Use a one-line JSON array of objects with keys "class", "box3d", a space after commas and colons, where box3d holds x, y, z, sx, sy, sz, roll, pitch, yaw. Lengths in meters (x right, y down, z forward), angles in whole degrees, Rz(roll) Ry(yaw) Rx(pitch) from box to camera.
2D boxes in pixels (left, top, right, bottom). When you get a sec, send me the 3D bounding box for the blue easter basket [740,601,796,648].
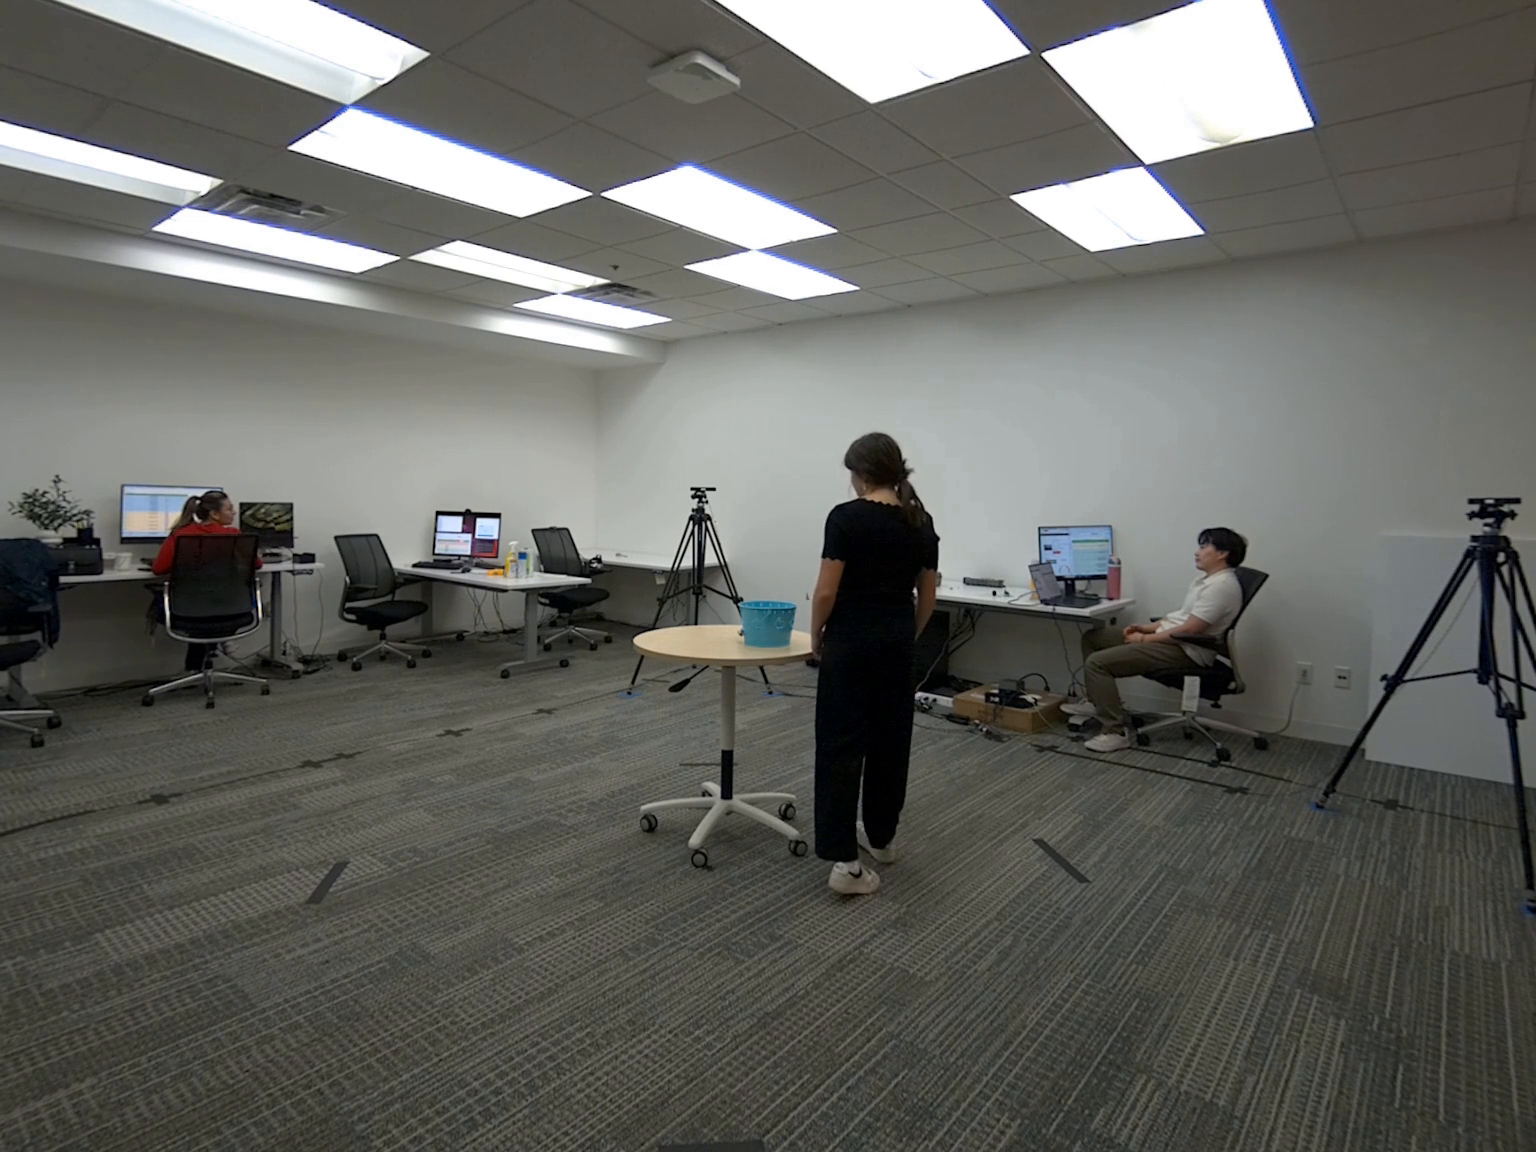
[{"class": "blue easter basket", "box3d": [-0.016, 0.188, 3.361, 0.243, 0.155, 0.245, 1, 6, -2]}]
